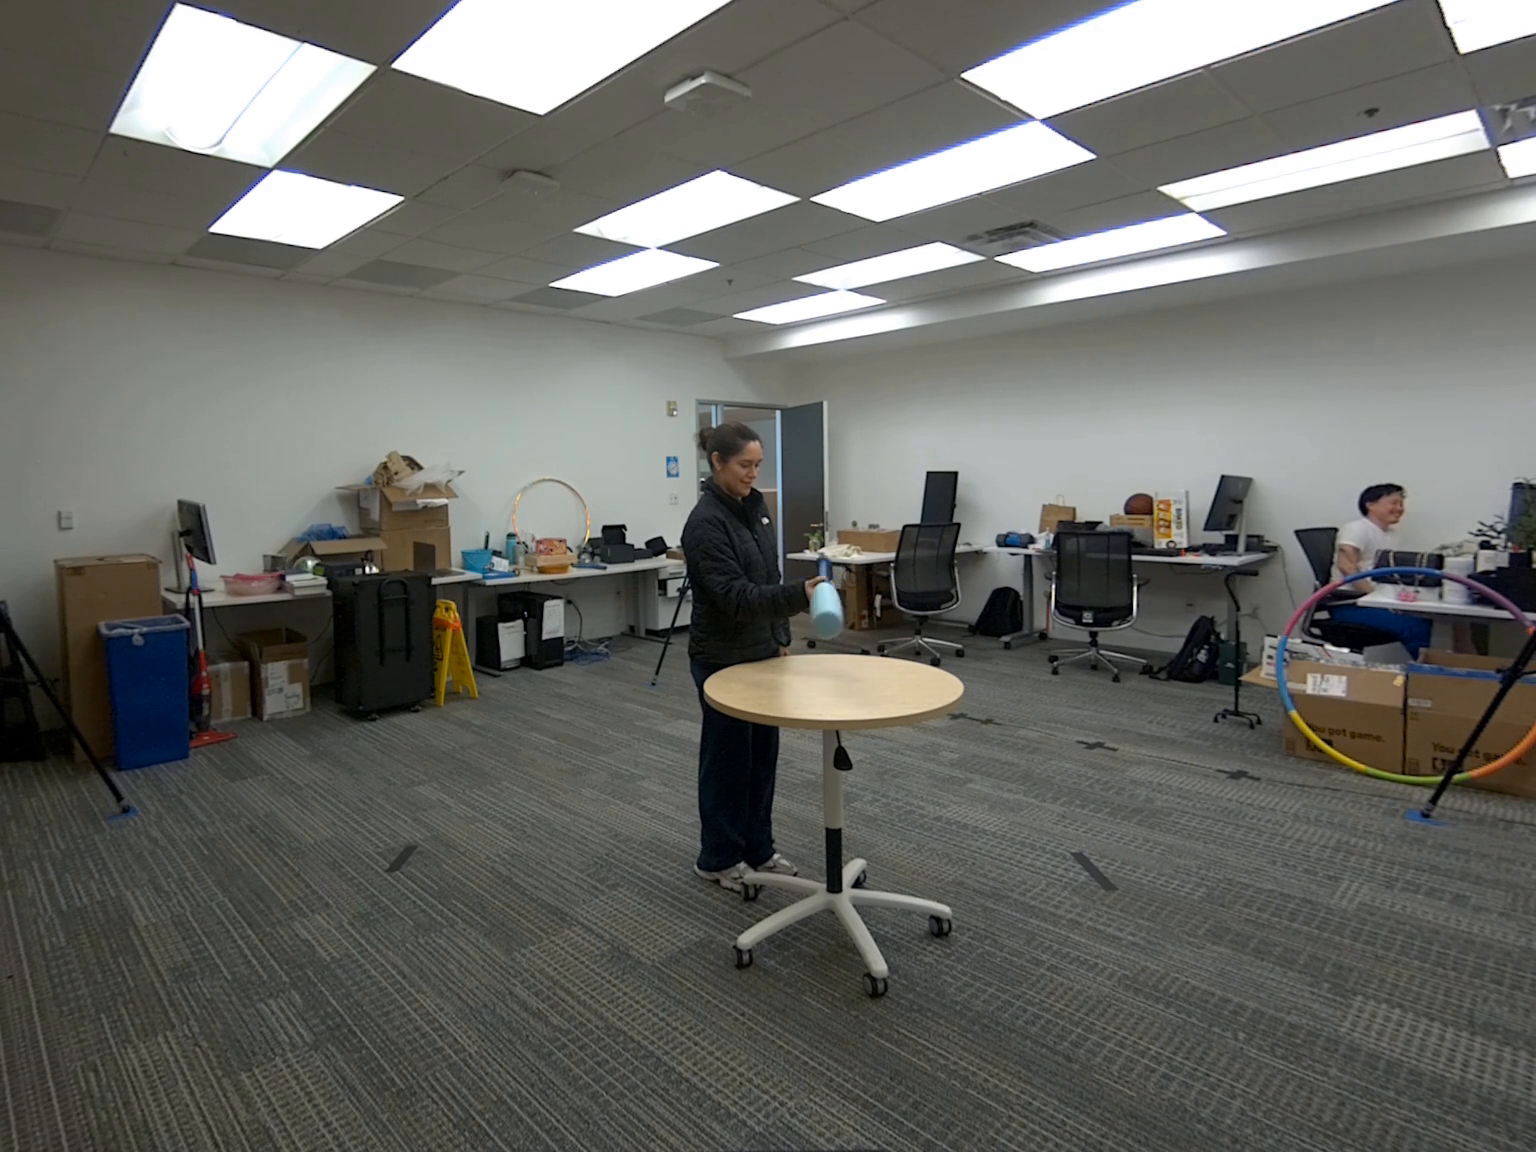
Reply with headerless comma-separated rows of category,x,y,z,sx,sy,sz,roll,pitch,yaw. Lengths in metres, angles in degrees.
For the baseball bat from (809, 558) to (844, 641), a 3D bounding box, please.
baseball bat,0.172,0.048,2.576,0.089,0.087,0.549,-1,18,3
